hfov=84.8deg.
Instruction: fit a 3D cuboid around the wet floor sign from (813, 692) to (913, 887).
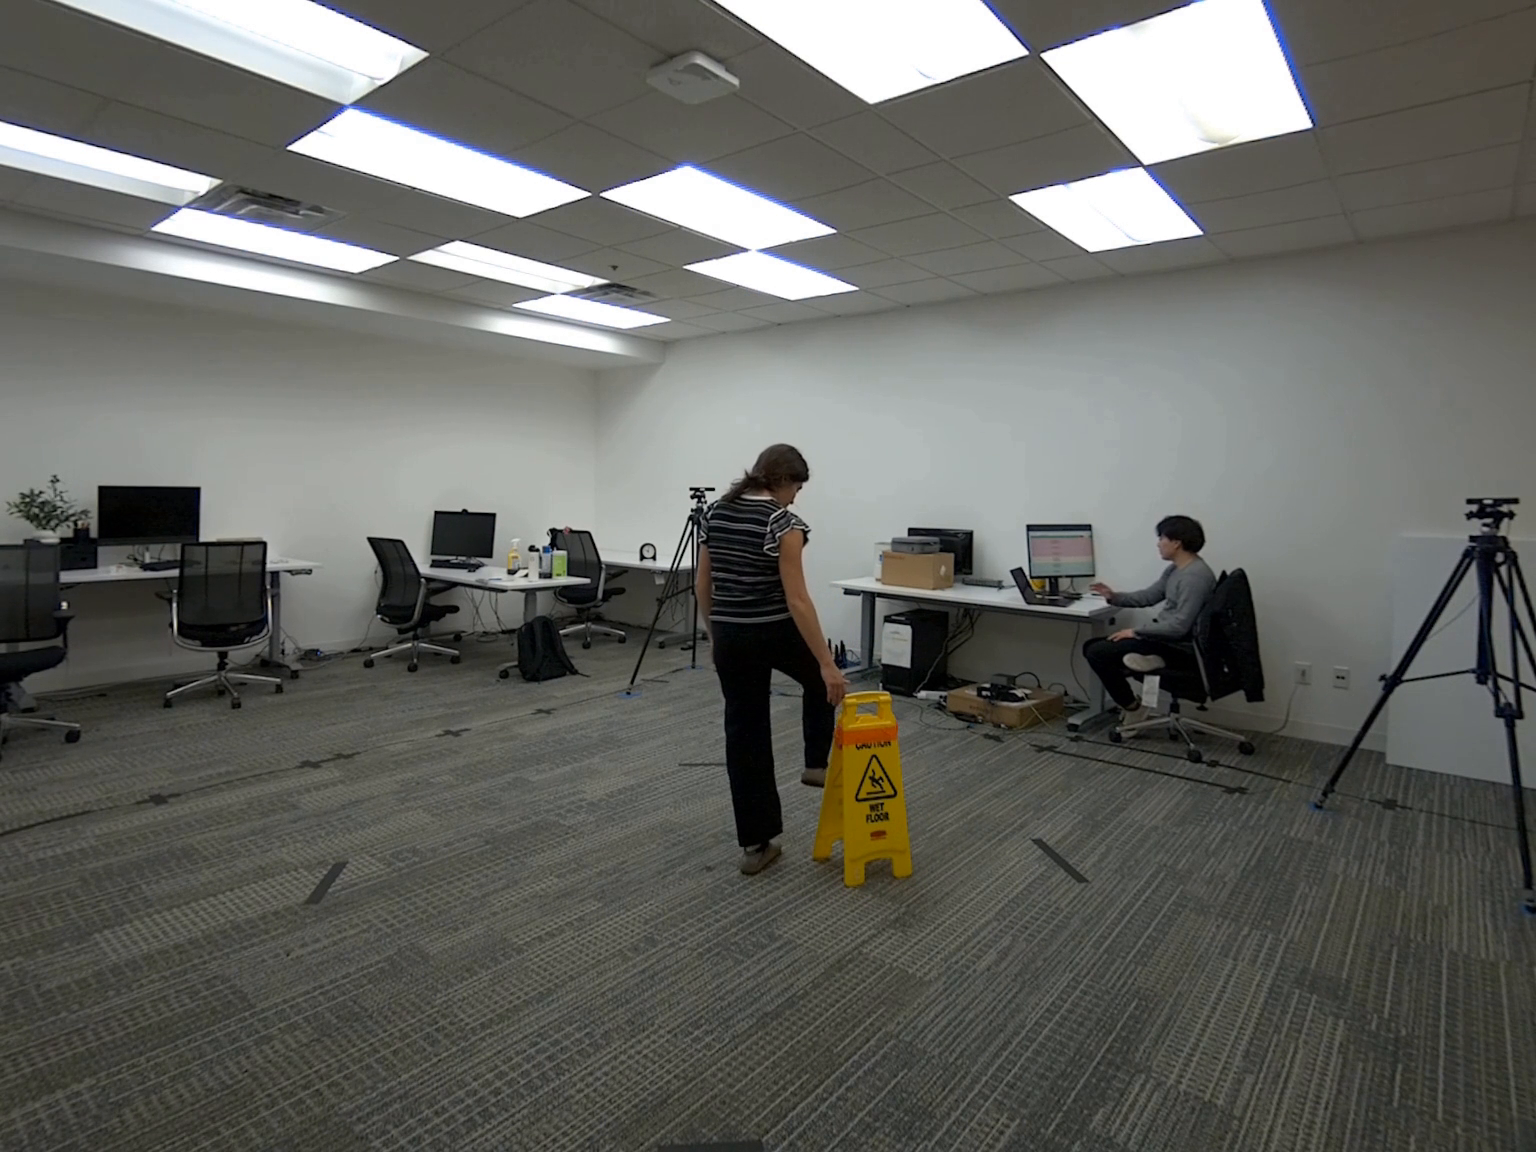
[{"bbox_3d":[0.346,0.751,3.135,0.276,0.644,0.297,1,3,-23],"label":"wet floor sign"}]
